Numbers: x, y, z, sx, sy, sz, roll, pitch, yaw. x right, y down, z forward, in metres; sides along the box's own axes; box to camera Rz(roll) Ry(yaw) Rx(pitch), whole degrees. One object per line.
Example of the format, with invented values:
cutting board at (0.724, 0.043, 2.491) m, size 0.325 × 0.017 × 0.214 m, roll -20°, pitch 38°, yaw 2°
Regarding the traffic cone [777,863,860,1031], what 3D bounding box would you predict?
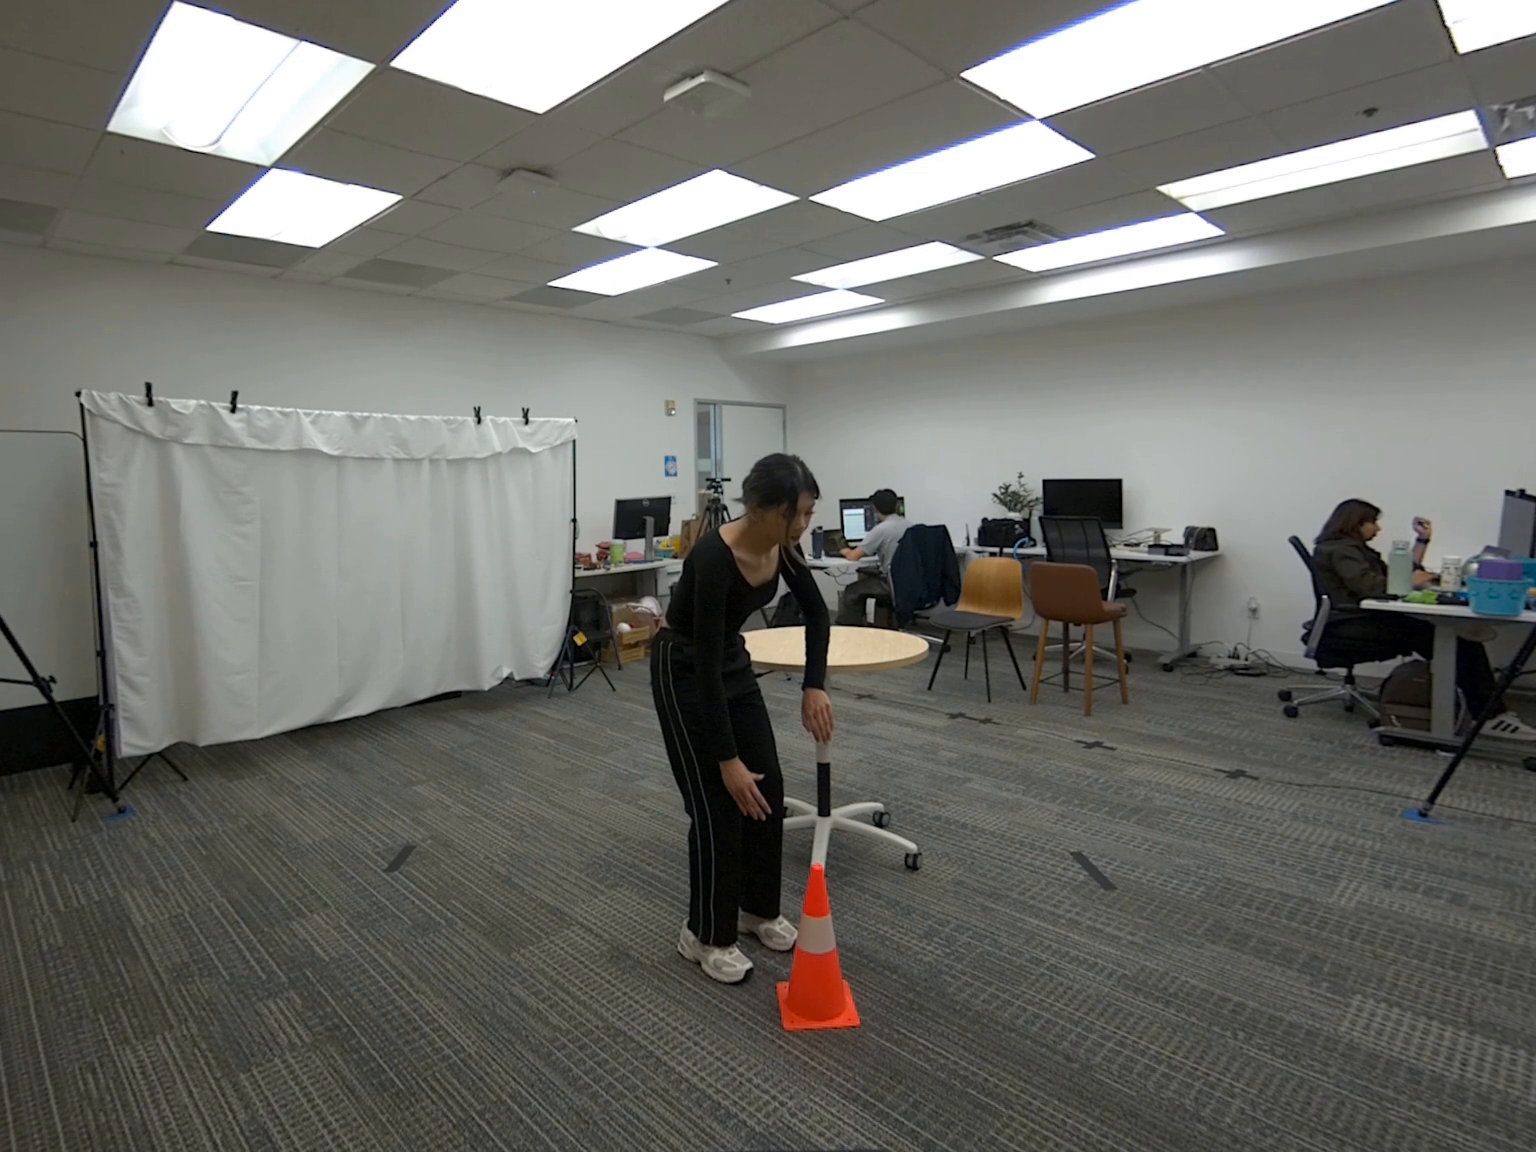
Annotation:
traffic cone at (0.139, 0.952, 2.260) m, size 0.203 × 0.383 × 0.205 m, roll 0°, pitch 2°, yaw -1°
